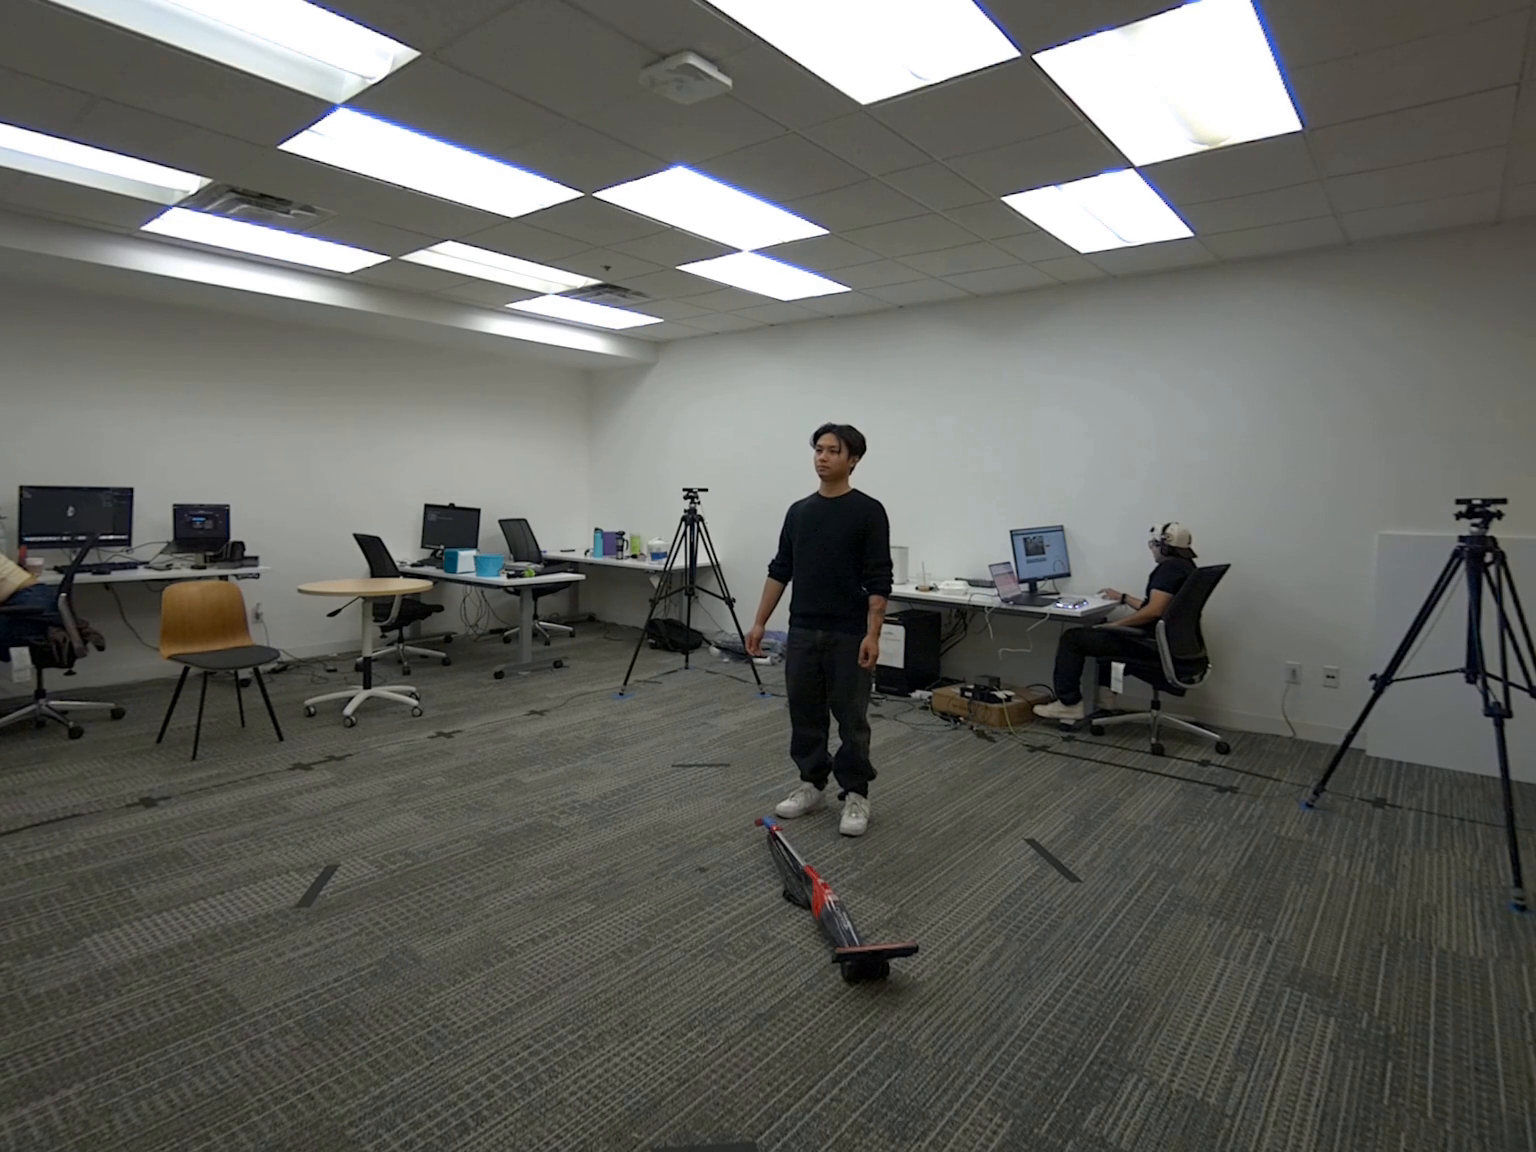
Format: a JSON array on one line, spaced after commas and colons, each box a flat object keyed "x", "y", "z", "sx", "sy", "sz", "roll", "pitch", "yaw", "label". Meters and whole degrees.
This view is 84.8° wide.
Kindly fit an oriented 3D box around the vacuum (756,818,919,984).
[{"x": 0.116, "y": 1.034, "z": 2.903, "sx": 0.247, "sy": 0.144, "sz": 1.072, "roll": 5, "pitch": 3, "yaw": -19, "label": "vacuum"}]
